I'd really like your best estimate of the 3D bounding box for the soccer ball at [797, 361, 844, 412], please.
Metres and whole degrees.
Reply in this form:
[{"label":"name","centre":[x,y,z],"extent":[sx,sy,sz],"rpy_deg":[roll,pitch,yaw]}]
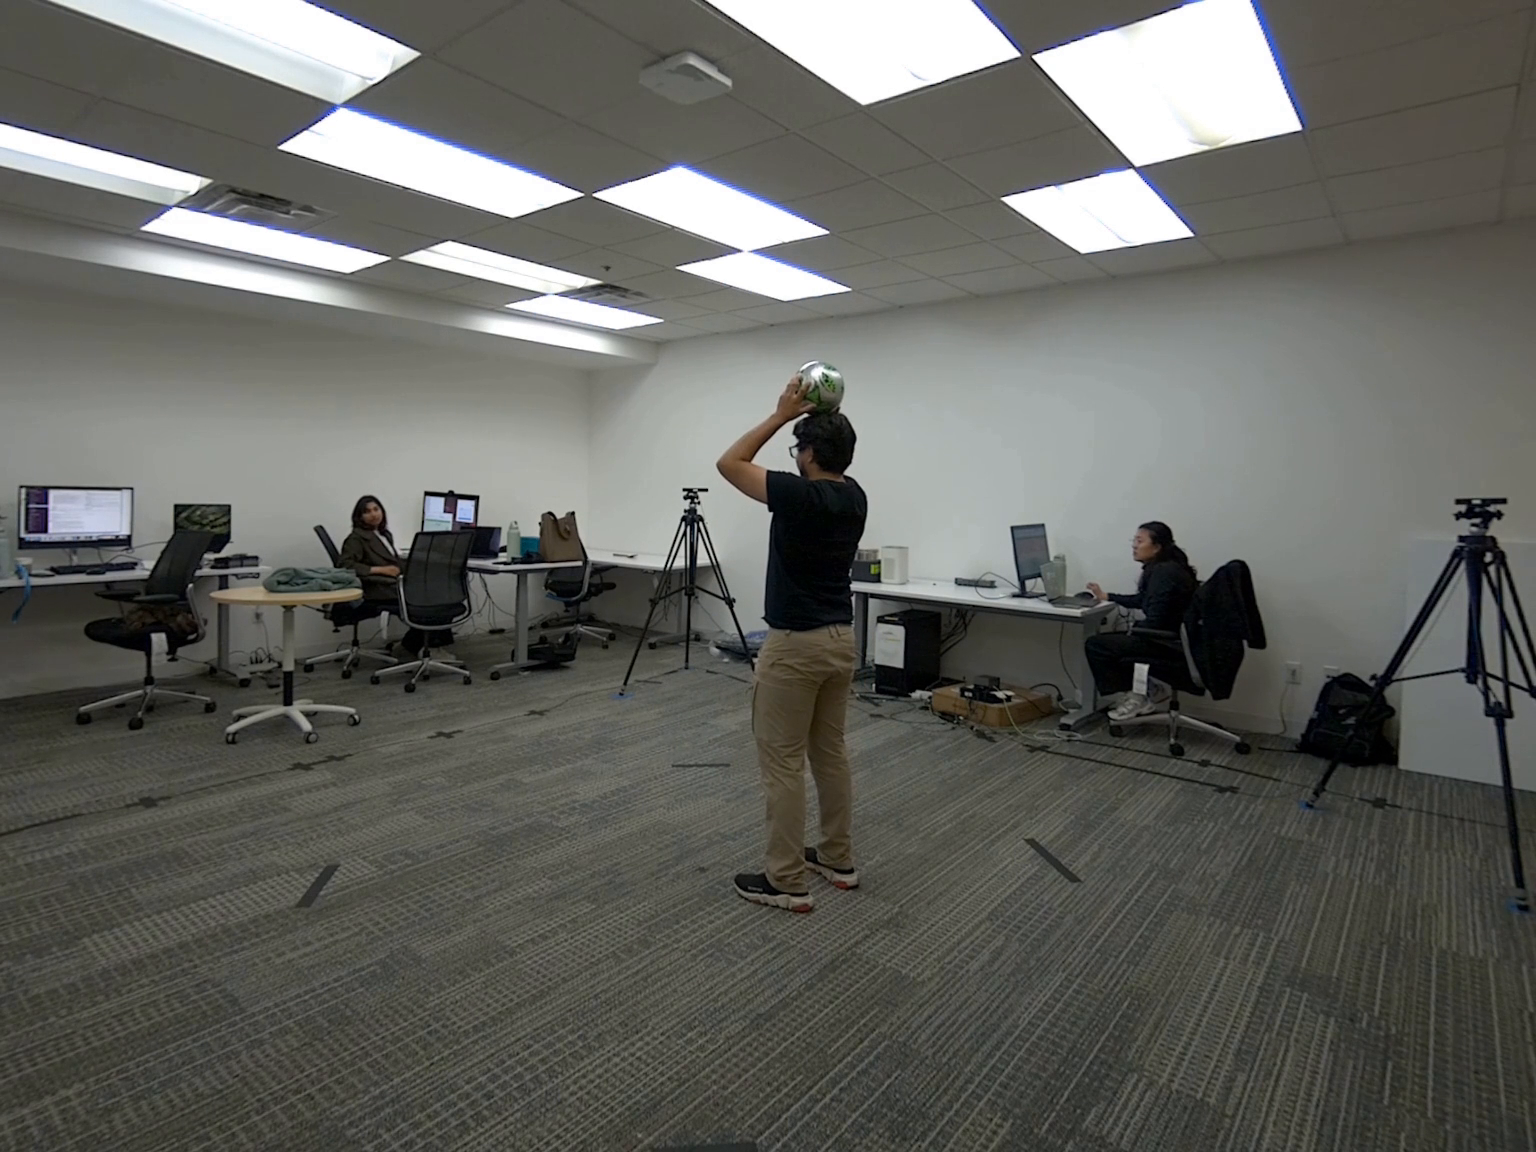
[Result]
[{"label":"soccer ball","centre":[0.170,-0.655,2.979],"extent":[0.187,0.187,0.188],"rpy_deg":[1,4,-2]}]
